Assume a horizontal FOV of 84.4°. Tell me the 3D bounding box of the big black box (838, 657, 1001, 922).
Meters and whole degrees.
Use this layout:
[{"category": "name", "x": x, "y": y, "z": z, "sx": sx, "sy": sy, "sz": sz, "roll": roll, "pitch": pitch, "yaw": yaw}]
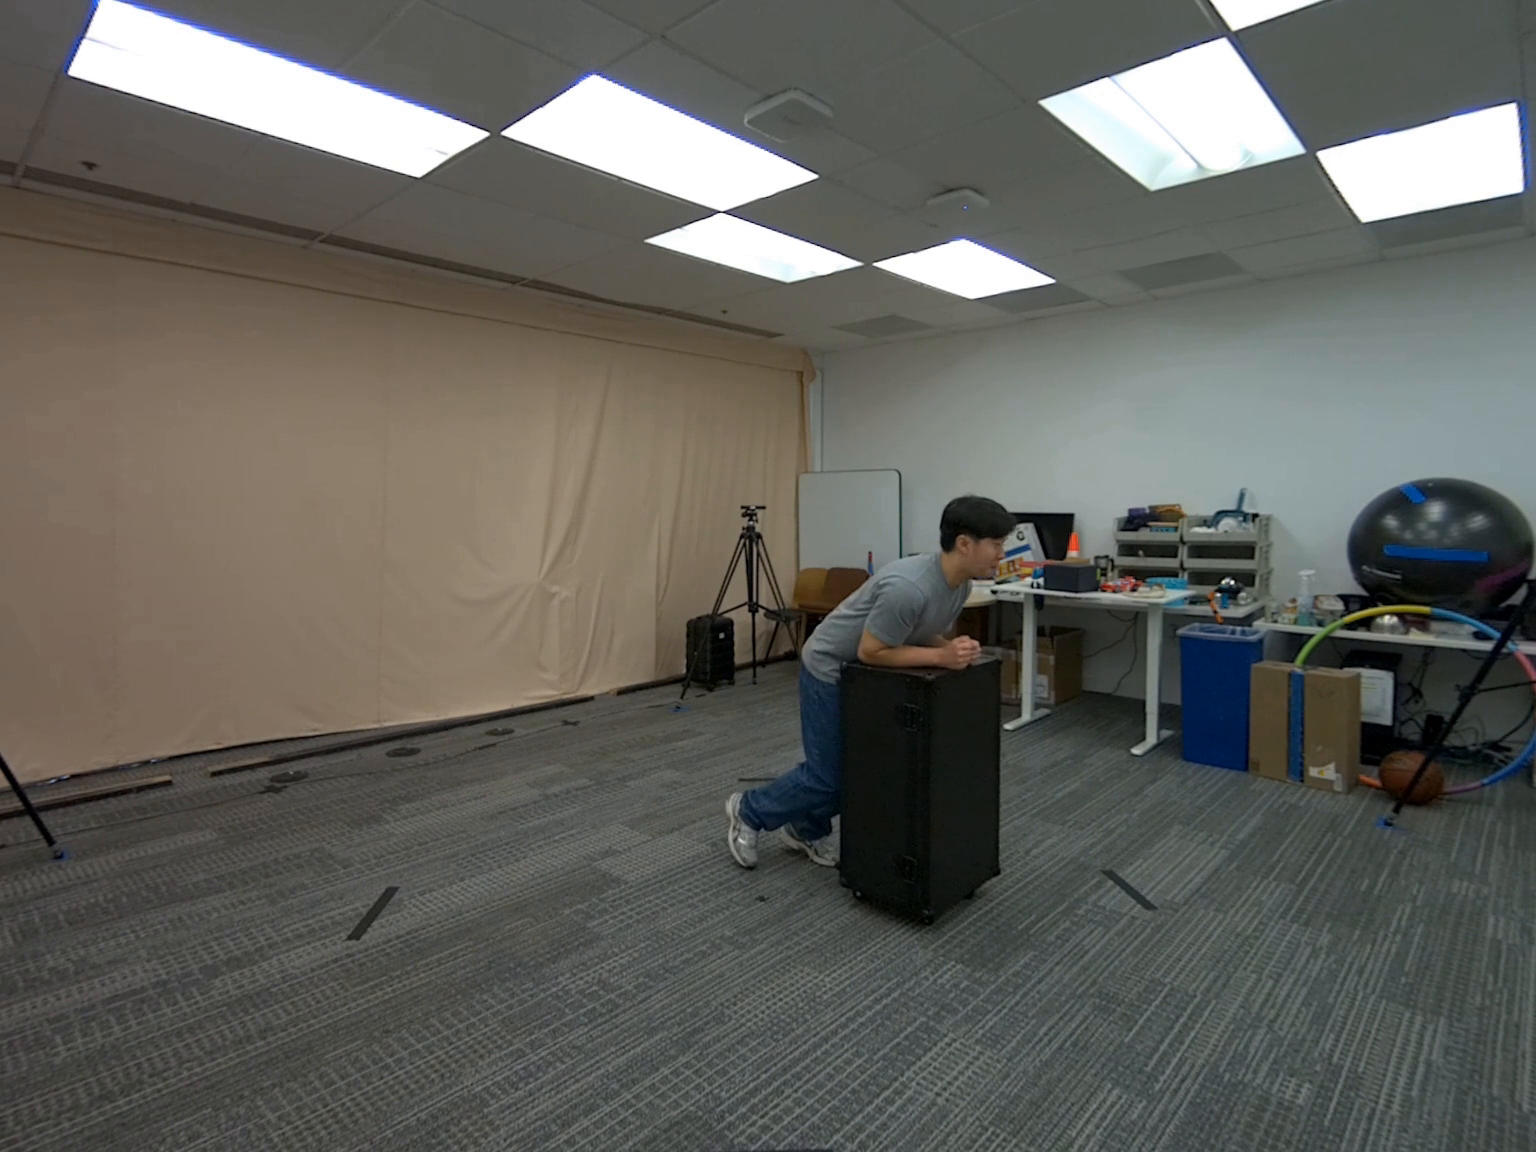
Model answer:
[{"category": "big black box", "x": 0.534, "y": 0.717, "z": 2.956, "sx": 0.409, "sy": 0.860, "sz": 0.505, "roll": 2, "pitch": 4, "yaw": 43}]
